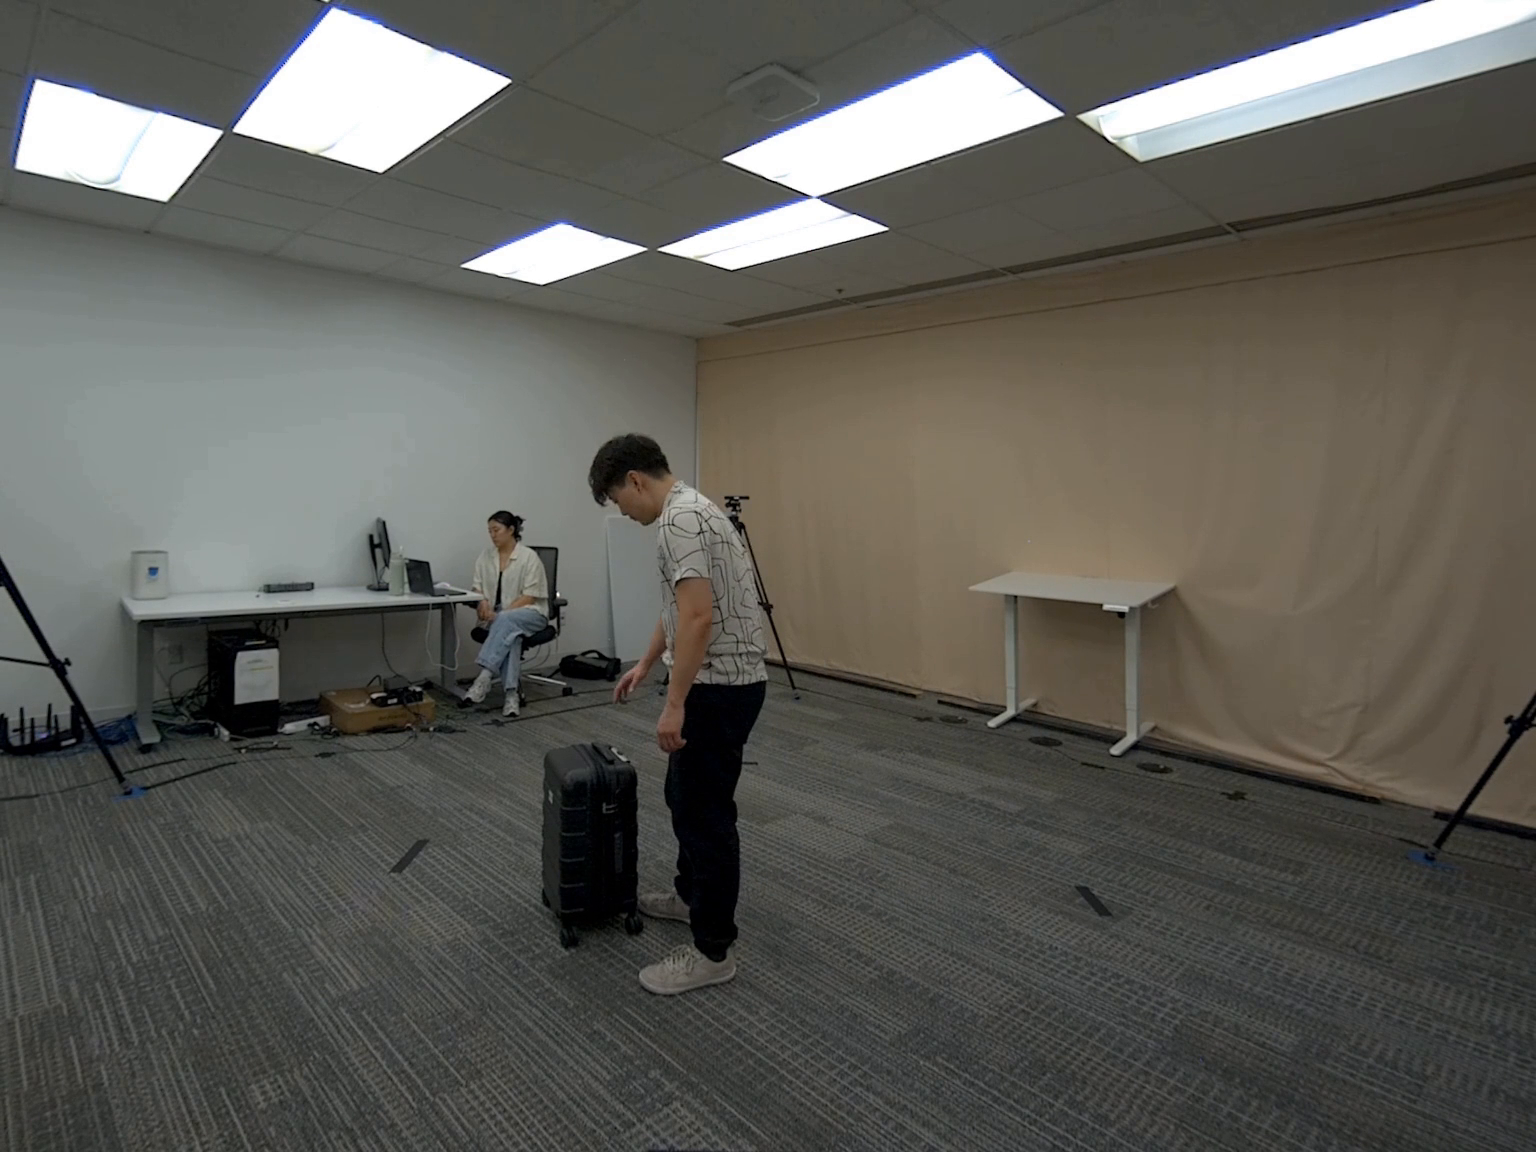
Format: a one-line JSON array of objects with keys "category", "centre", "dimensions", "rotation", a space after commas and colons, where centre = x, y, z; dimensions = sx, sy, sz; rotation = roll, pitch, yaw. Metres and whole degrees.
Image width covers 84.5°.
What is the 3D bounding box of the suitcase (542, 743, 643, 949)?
[{"category": "suitcase", "centre": [-0.595, 0.848, 2.767], "dimensions": [0.244, 0.548, 0.383], "rotation": [0, 4, -26]}]
